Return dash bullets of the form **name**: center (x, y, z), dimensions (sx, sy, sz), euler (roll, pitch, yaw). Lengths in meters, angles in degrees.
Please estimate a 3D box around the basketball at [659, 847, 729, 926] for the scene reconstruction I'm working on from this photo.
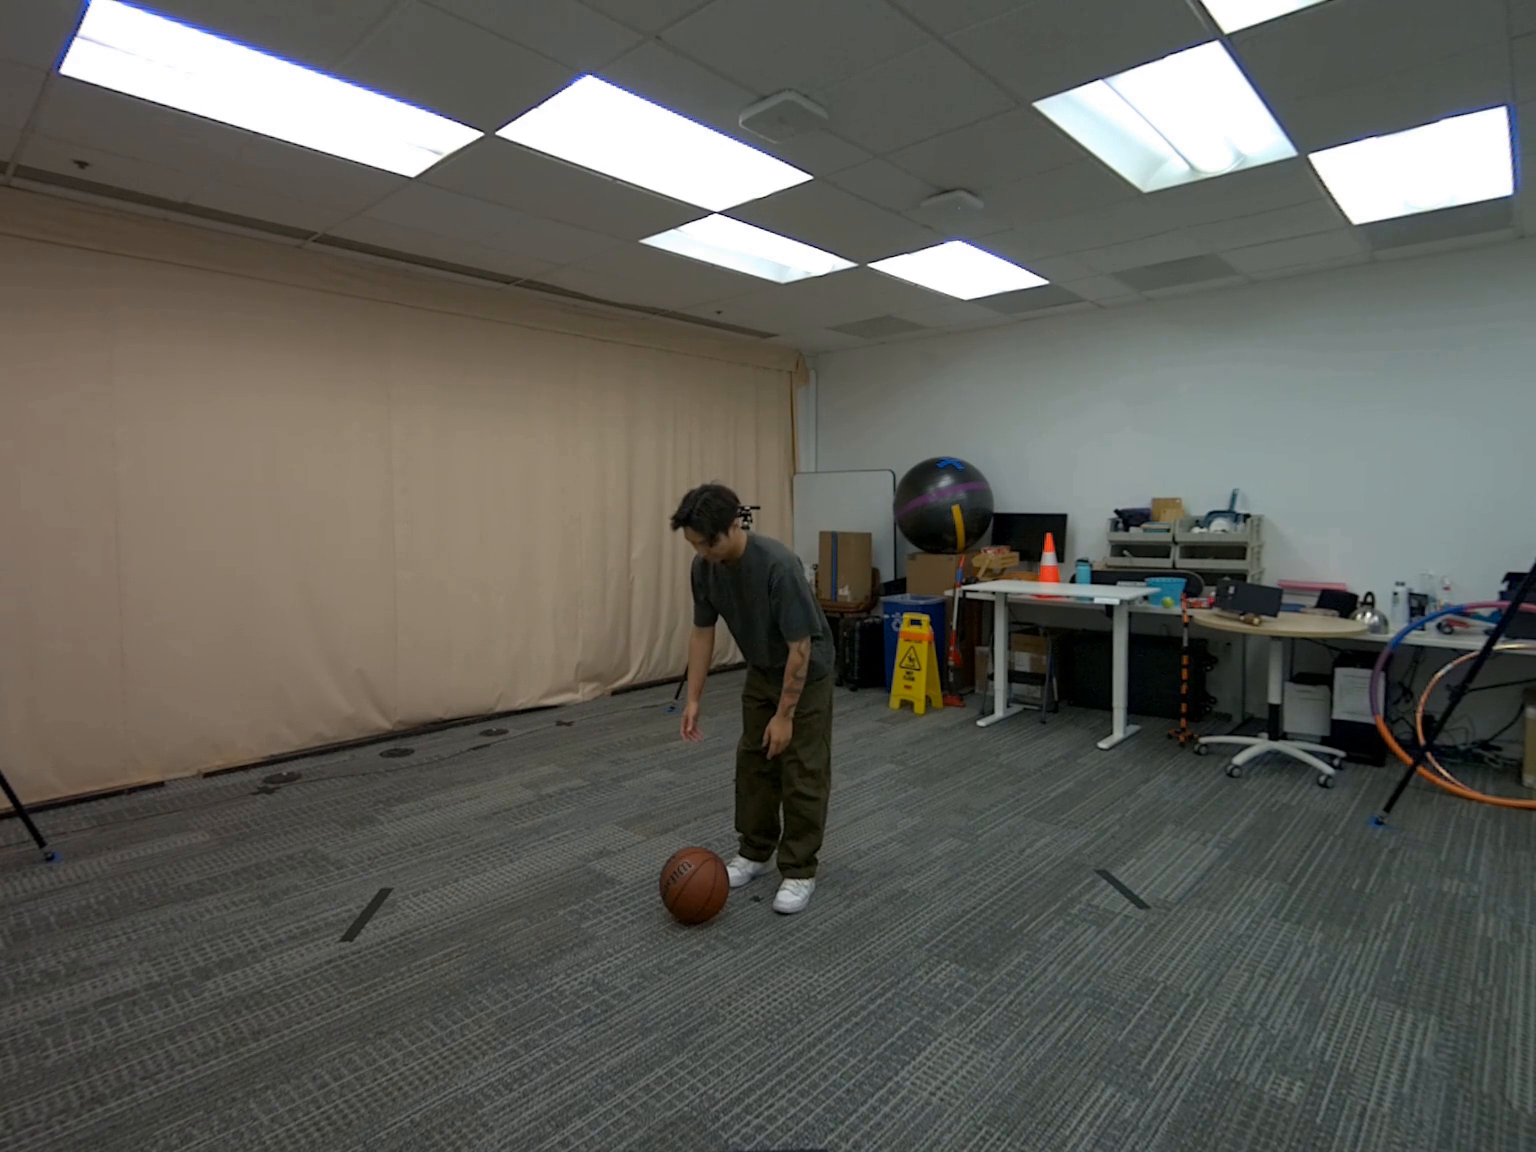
- **basketball**: center (-0.245, 1.033, 2.835), dimensions (0.236, 0.235, 0.237), euler (0, 4, -2)
